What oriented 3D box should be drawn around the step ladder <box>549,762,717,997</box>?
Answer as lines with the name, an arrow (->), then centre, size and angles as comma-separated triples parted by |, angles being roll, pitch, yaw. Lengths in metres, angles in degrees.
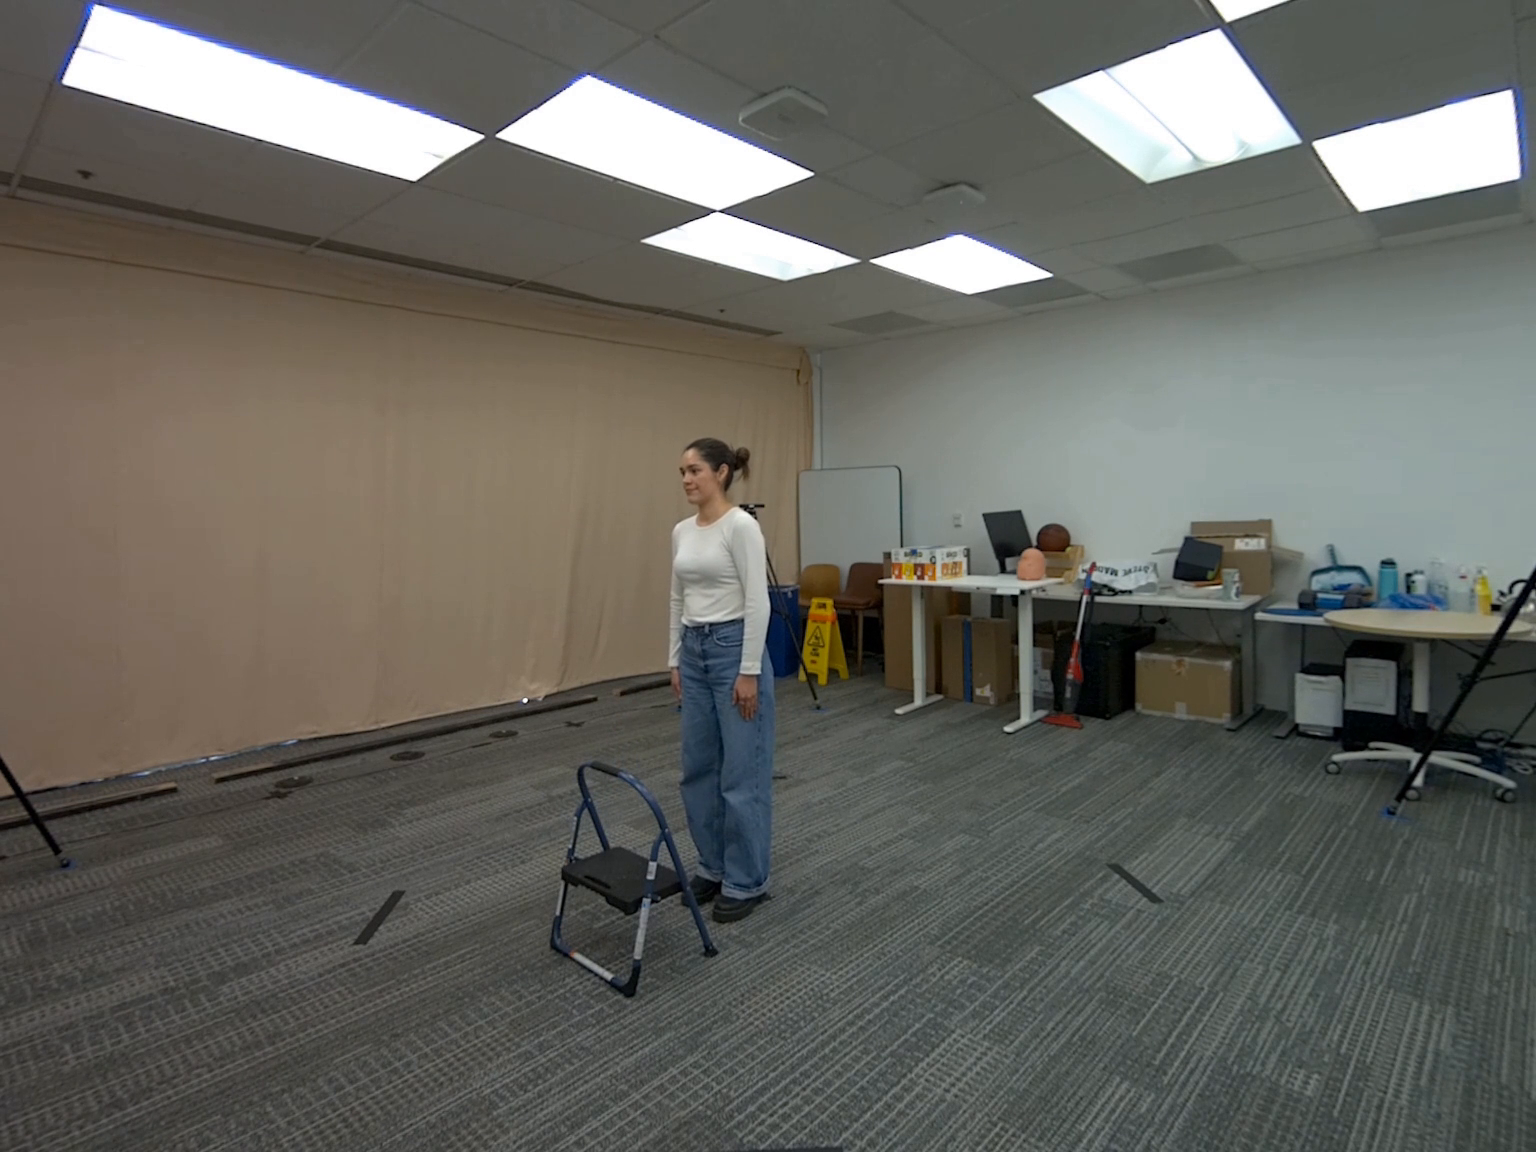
step ladder -> -0.433, 0.877, 2.633 | 0.445, 0.605, 0.339 | 1, 4, 43
